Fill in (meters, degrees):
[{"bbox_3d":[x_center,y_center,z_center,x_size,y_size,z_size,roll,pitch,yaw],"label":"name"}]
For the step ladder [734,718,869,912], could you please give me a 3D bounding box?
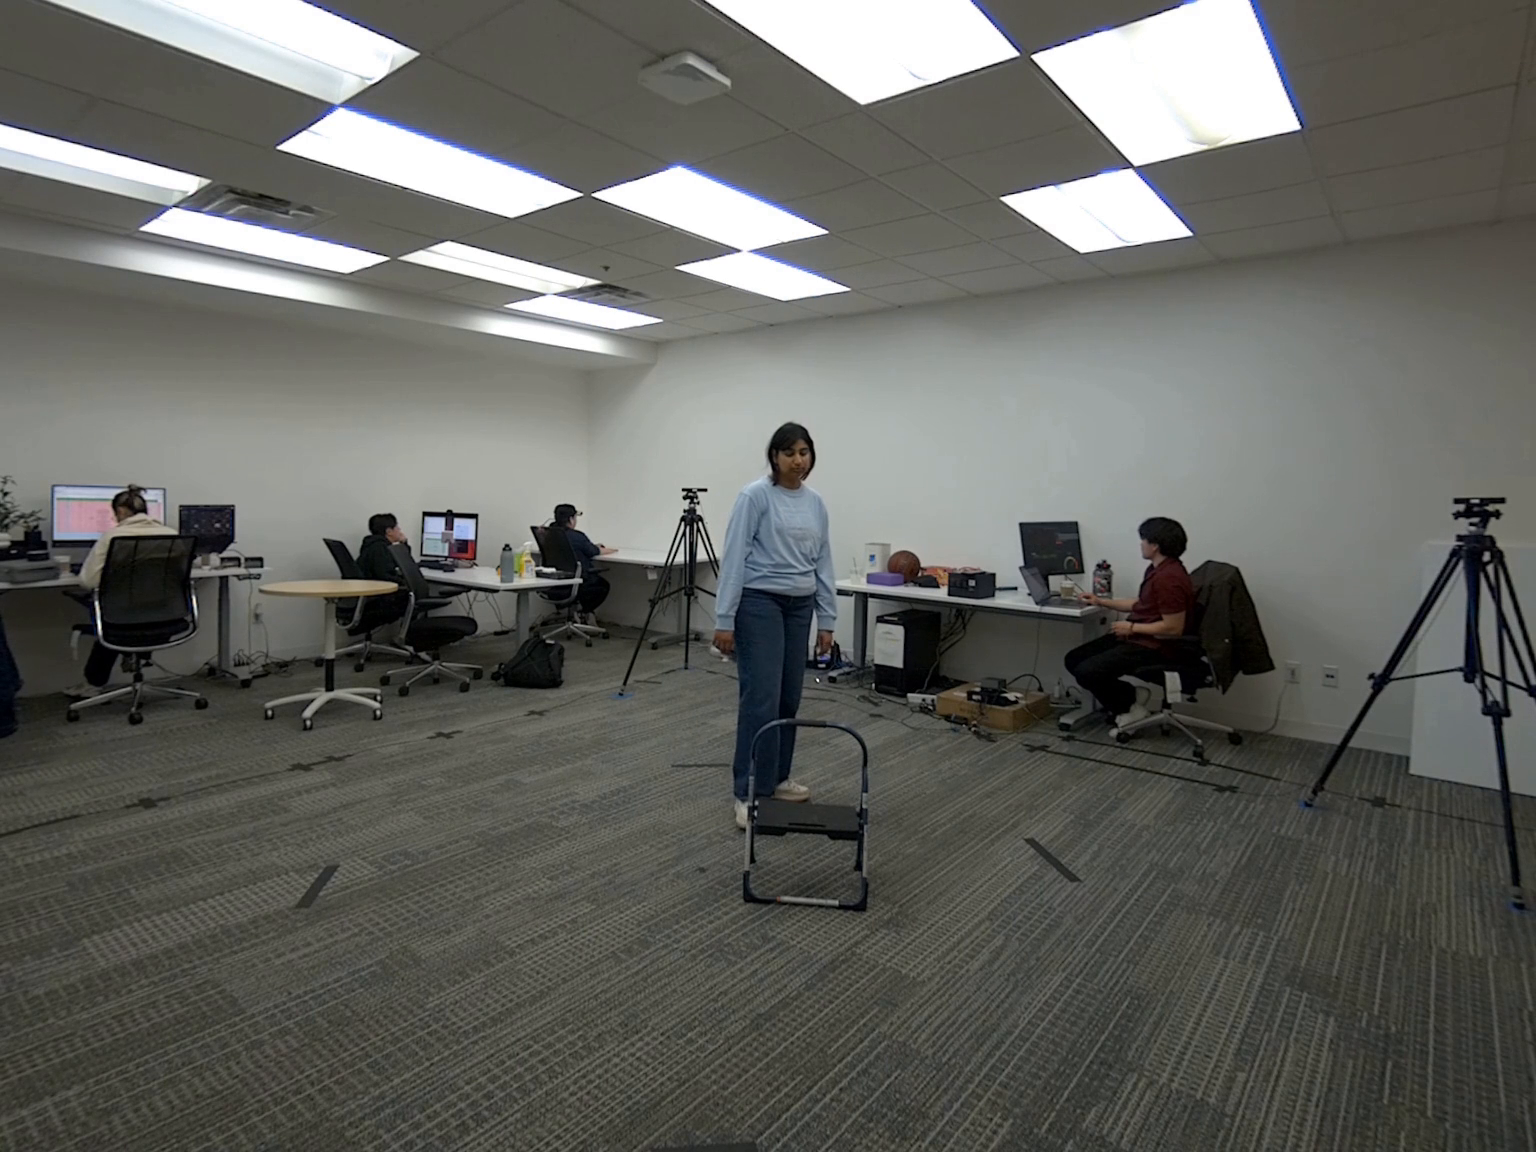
[{"bbox_3d":[0.133,0.786,2.994,0.433,0.605,0.348,1,3,5],"label":"step ladder"}]
